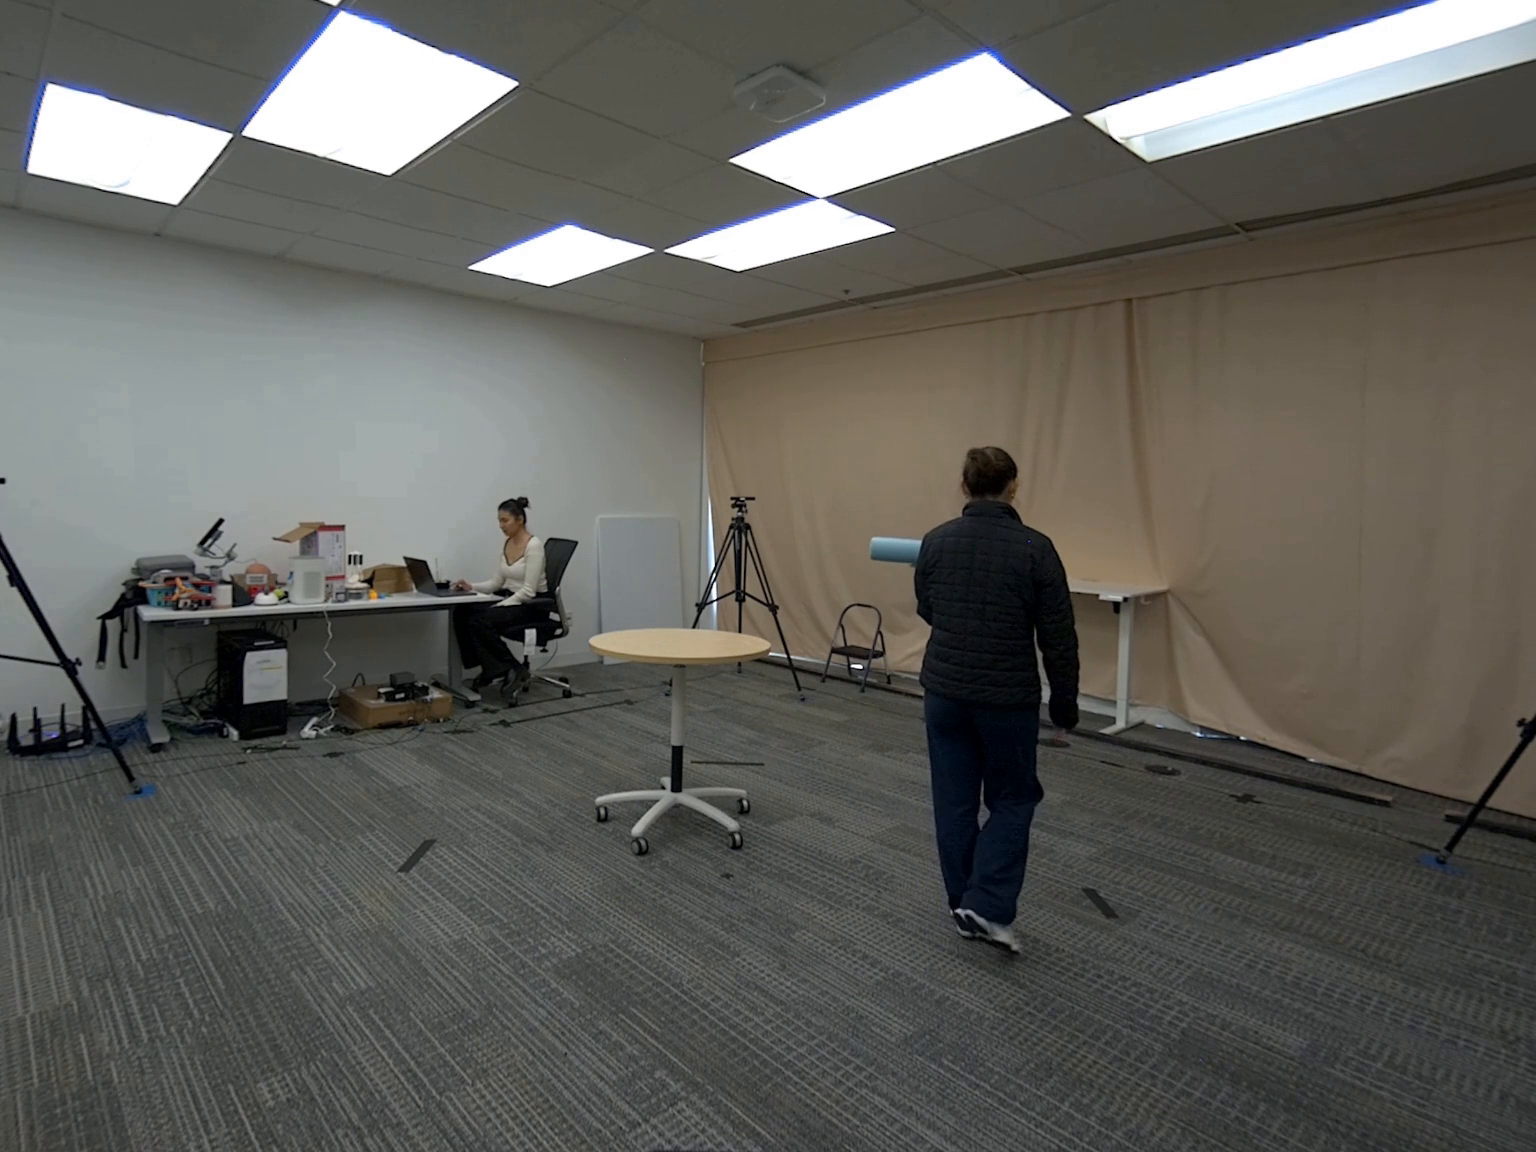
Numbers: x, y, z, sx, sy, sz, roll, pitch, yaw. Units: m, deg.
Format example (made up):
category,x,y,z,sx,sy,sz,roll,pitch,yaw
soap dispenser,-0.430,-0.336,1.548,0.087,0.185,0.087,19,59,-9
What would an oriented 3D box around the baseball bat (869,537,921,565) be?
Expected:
category,x,y,z,sx,sy,sz,roll,pitch,yaw
baseball bat,0.646,-0.070,3.044,0.549,0.089,0.088,5,5,12
